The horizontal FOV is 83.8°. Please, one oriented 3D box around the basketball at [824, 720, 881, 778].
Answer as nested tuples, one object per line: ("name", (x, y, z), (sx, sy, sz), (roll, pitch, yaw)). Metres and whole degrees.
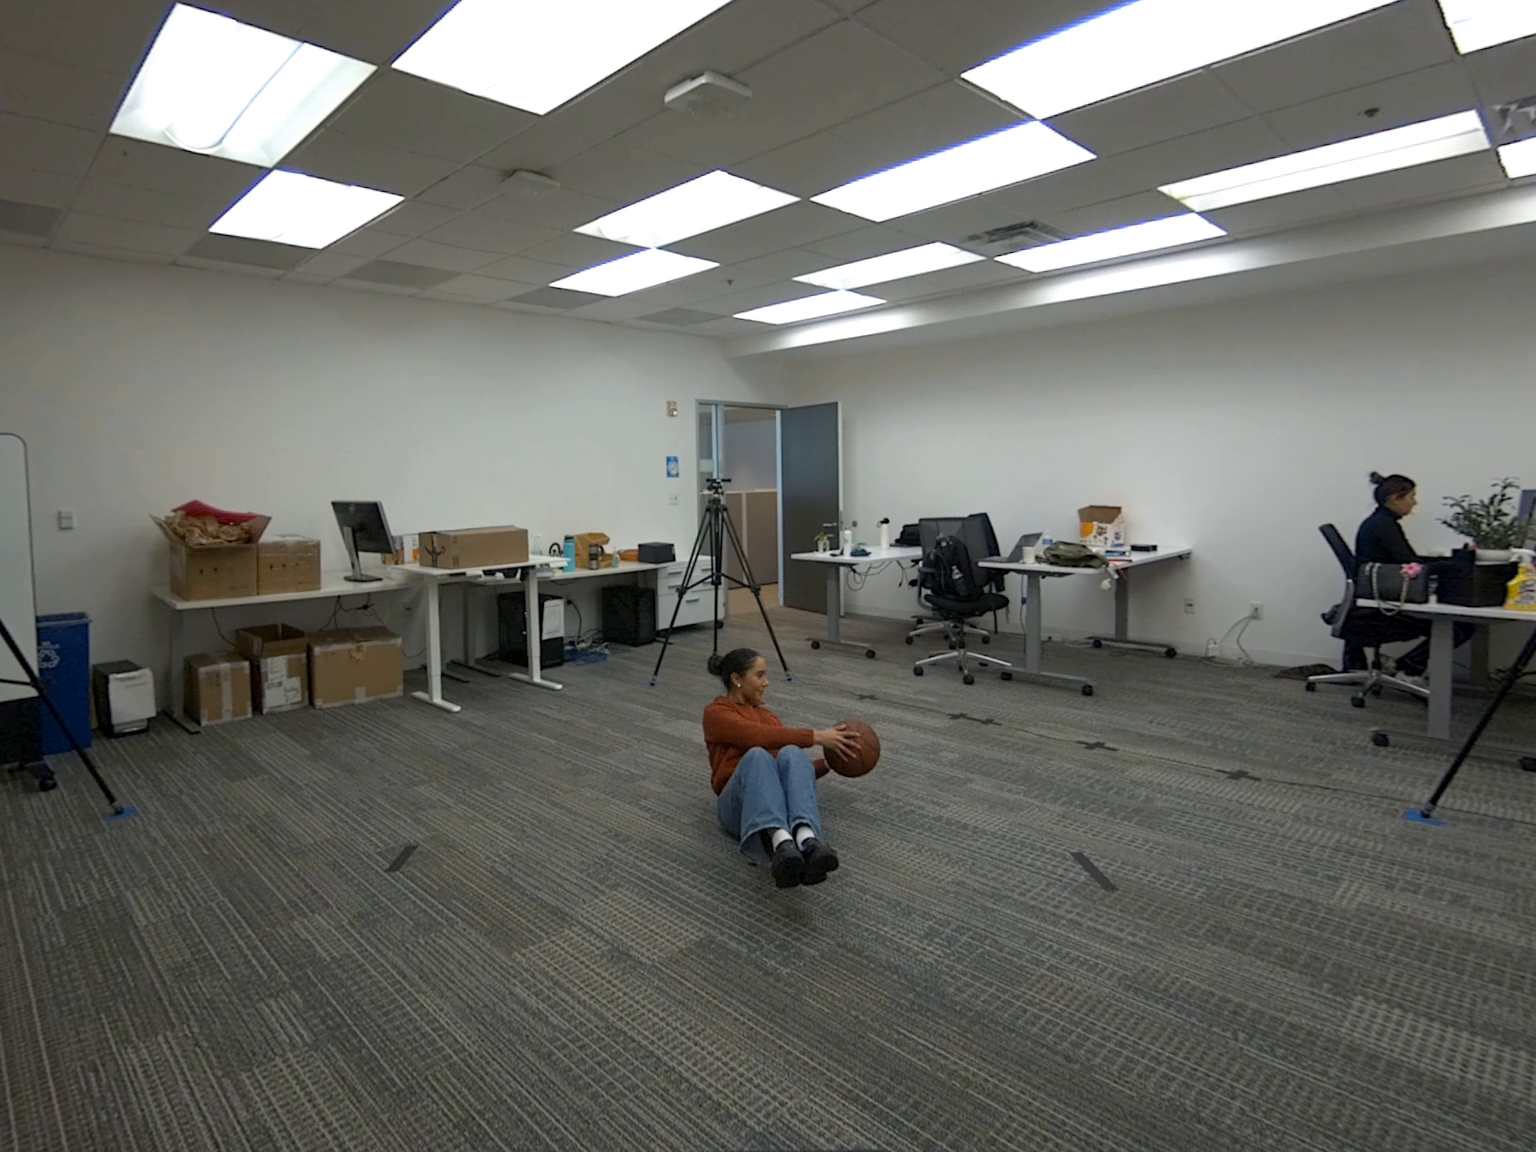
("basketball", (0.337, 0.705, 3.531), (0.236, 0.235, 0.237), (-1, 5, -2))
